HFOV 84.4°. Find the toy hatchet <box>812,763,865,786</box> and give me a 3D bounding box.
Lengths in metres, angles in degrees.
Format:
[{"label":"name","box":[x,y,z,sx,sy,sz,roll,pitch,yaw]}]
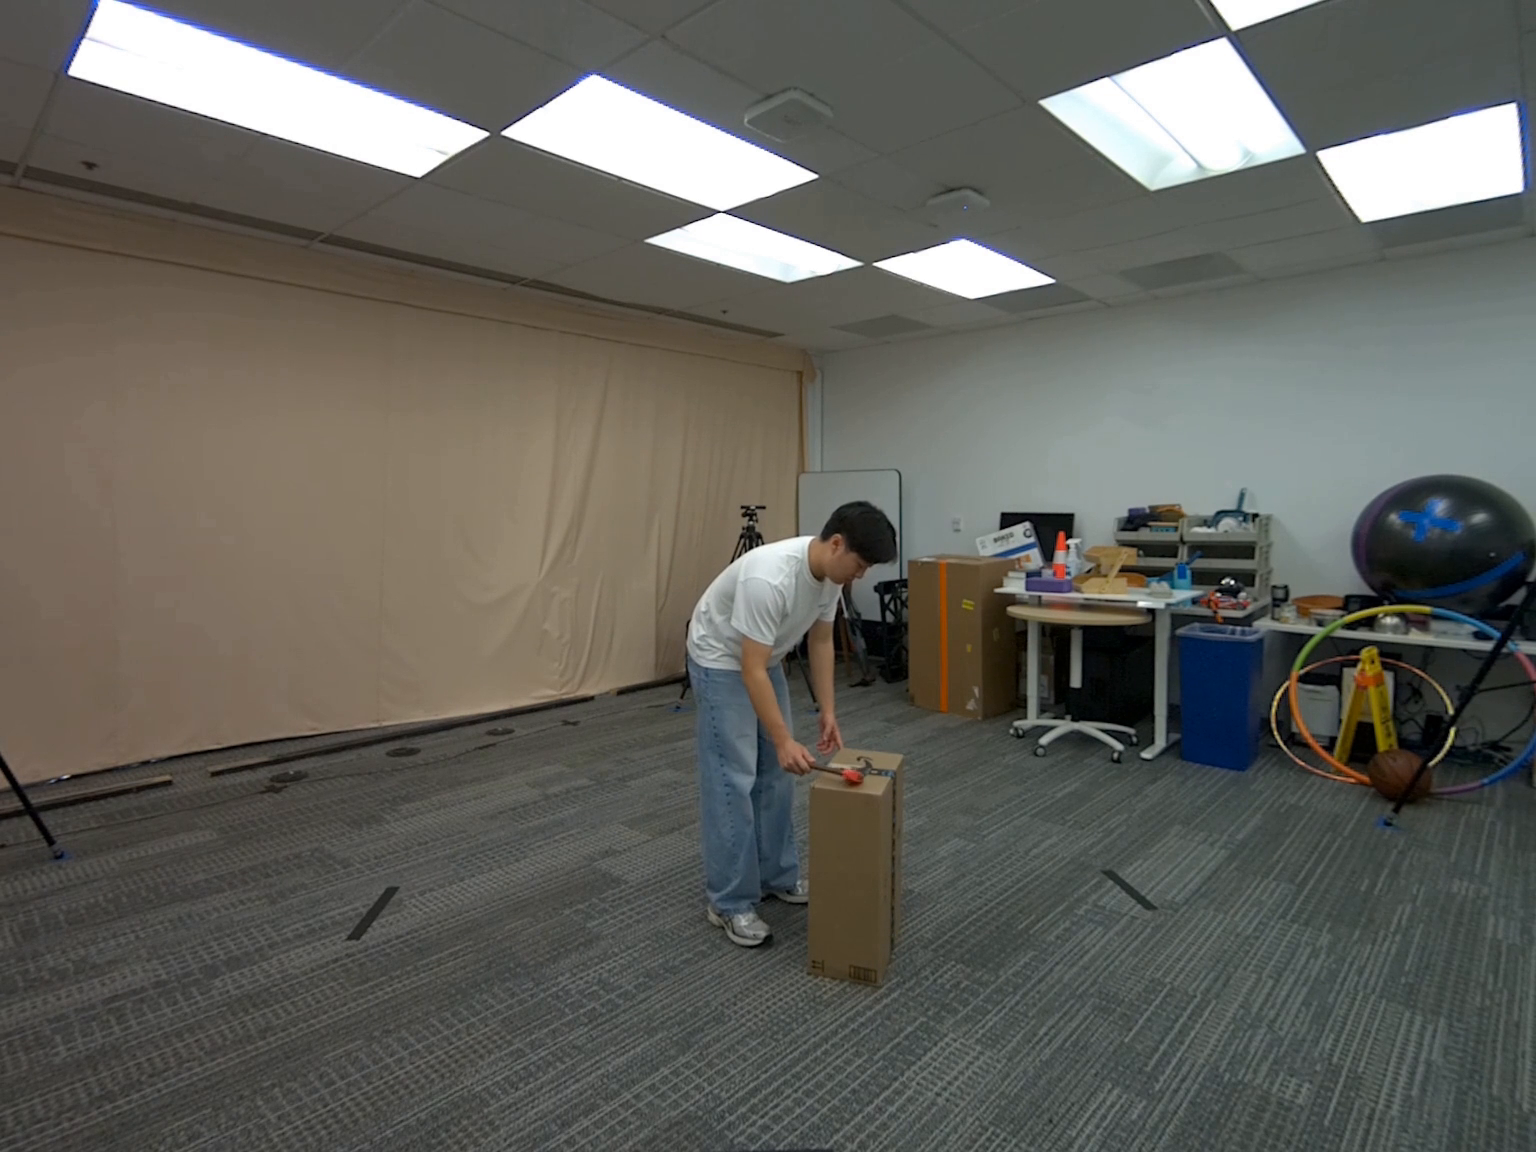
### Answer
[{"label":"toy hatchet","box":[0.179,0.587,2.581,0.126,0.030,0.278,21,-13,-37]}]
